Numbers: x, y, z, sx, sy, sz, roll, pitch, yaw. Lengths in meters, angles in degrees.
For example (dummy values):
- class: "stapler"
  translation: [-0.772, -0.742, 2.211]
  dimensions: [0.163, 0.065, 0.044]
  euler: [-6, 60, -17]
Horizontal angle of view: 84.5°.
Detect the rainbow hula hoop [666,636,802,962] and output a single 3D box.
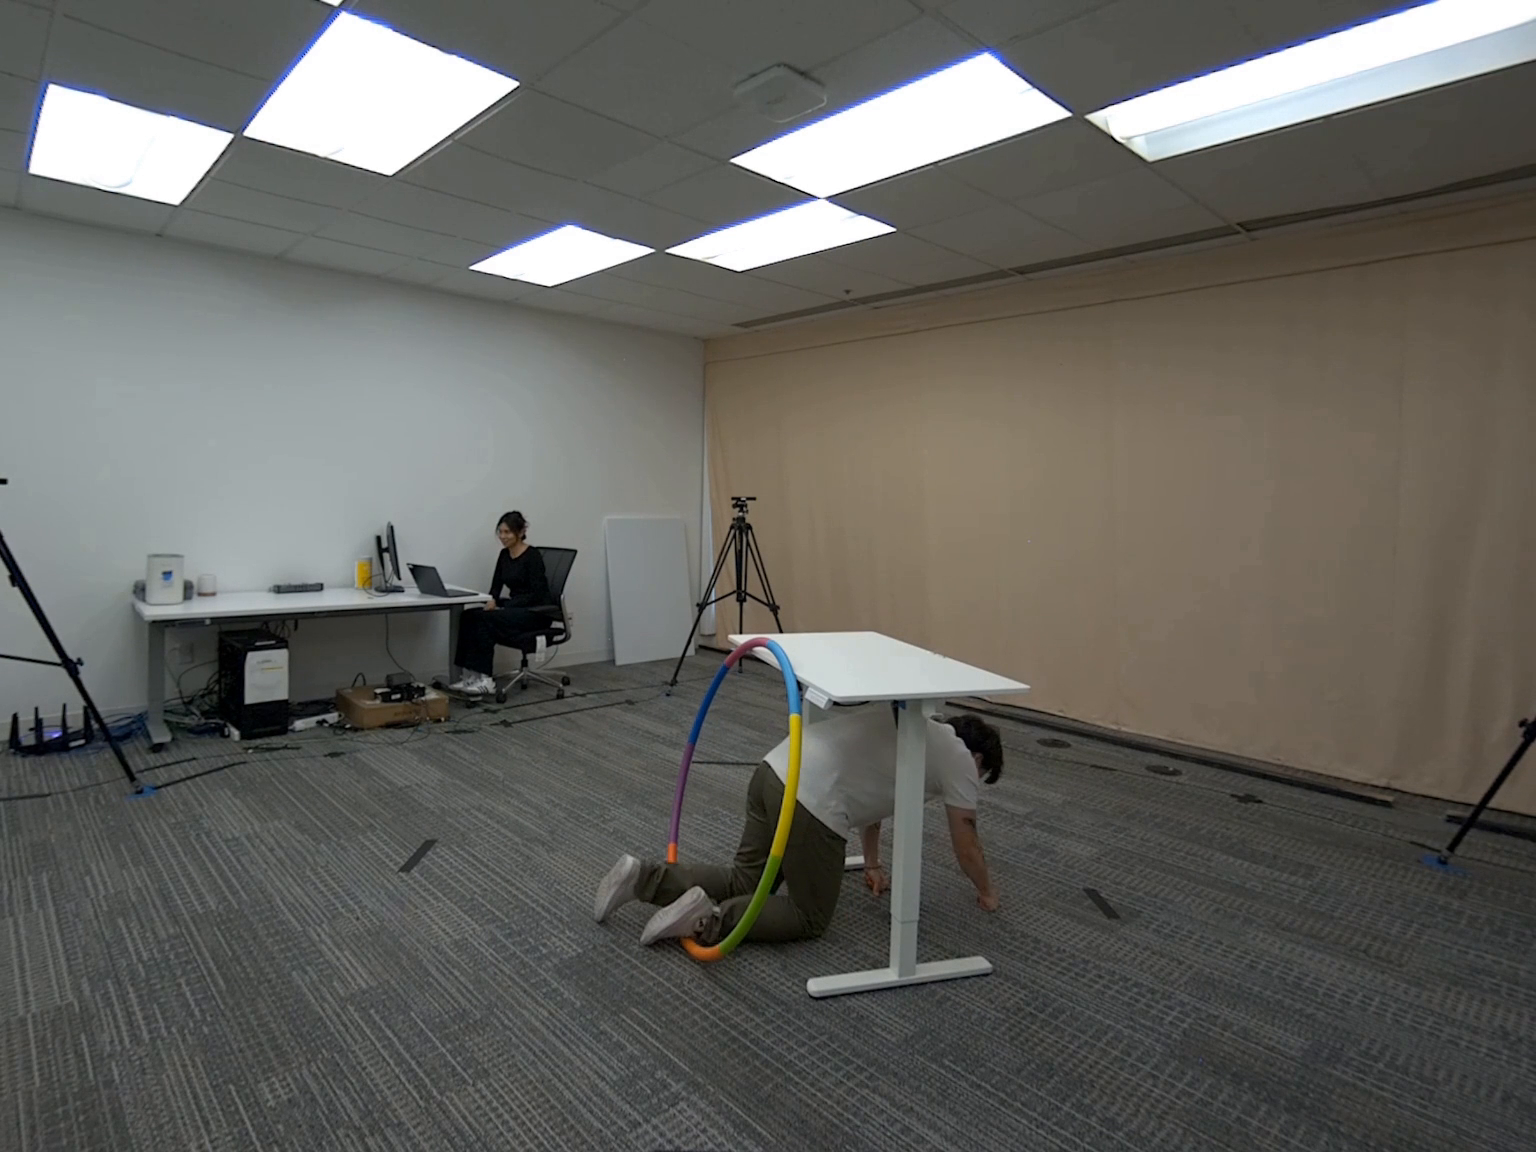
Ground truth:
- class: "rainbow hula hoop"
  translation: [-0.134, 0.679, 2.661]
  dimensions: [0.035, 0.979, 0.995]
  euler: [18, -1, -20]
